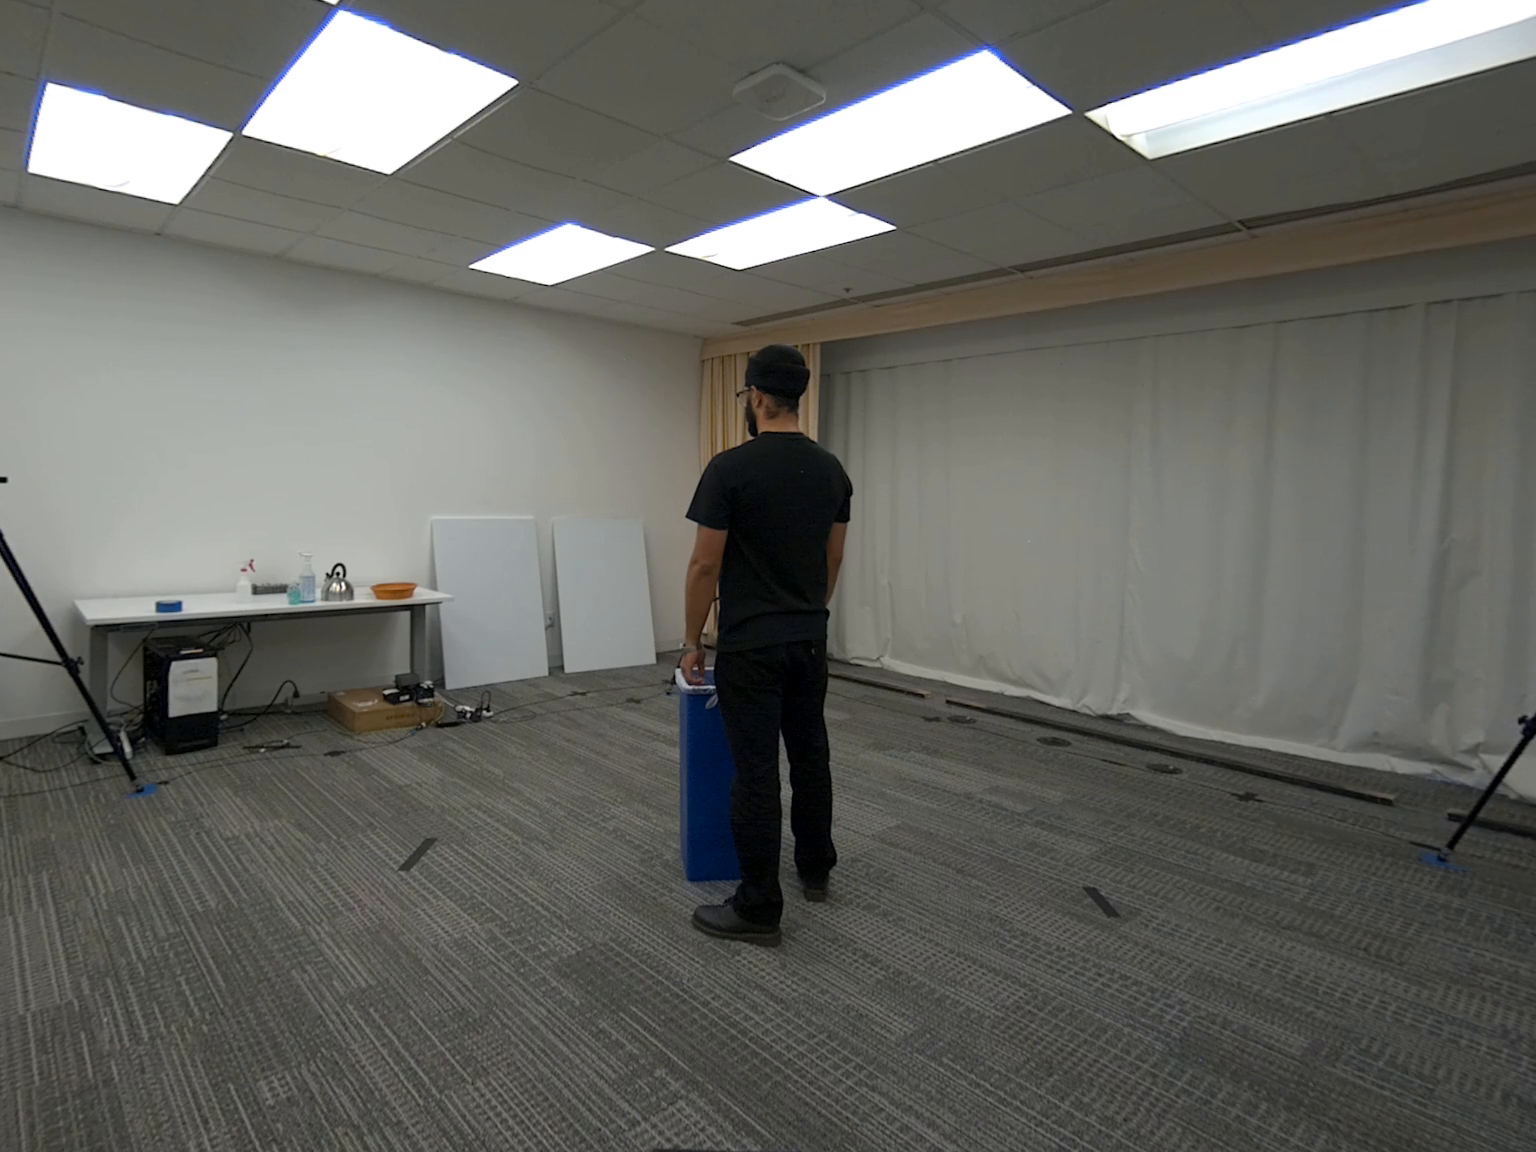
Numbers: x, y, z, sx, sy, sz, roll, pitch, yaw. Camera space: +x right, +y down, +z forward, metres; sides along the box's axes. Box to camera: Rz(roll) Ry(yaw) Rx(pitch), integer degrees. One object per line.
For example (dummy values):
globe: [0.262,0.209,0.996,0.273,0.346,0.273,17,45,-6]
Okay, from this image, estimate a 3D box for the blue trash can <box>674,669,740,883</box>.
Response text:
blue trash can: [-0.161,0.734,3.182,0.375,0.712,0.377,1,2,-10]
